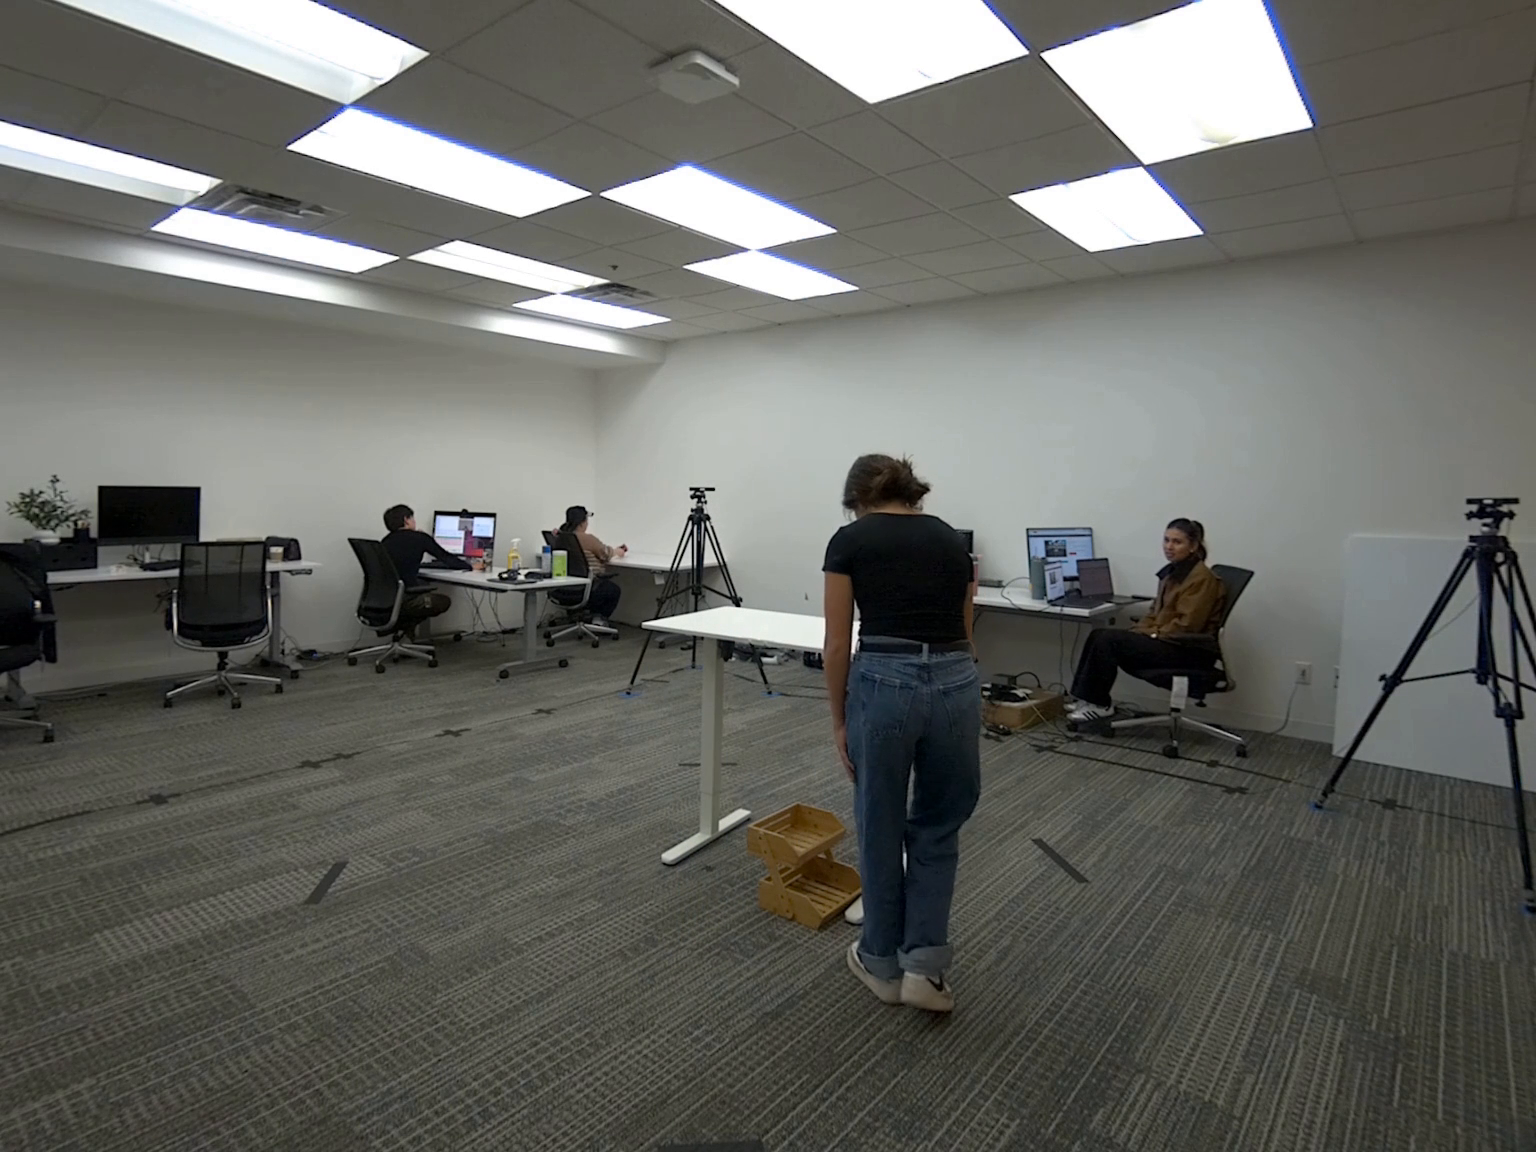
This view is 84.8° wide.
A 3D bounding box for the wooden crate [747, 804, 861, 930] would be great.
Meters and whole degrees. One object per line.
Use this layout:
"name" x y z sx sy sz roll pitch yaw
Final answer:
"wooden crate" 0.134 0.962 2.877 0.312 0.272 0.315 4 5 36
